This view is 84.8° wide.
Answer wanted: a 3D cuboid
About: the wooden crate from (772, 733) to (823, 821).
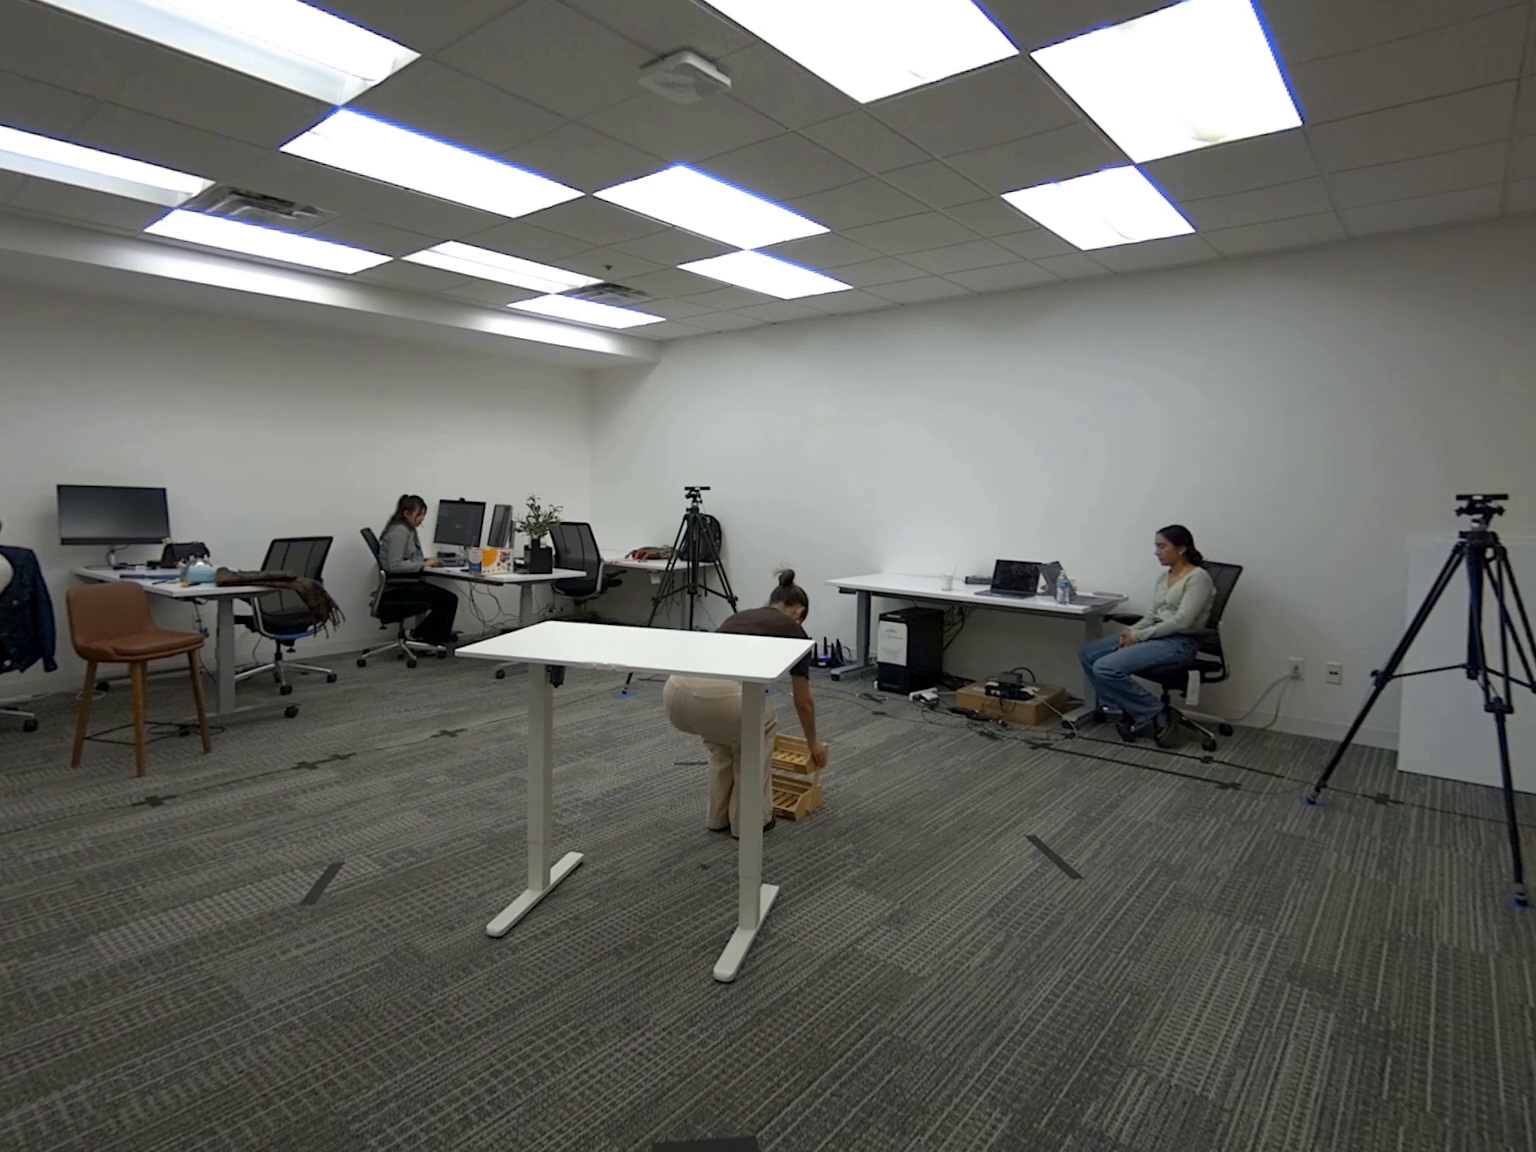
[{"bbox_3d":[0.048,0.864,3.743,0.334,0.272,0.294,4,5,32],"label":"wooden crate"}]
